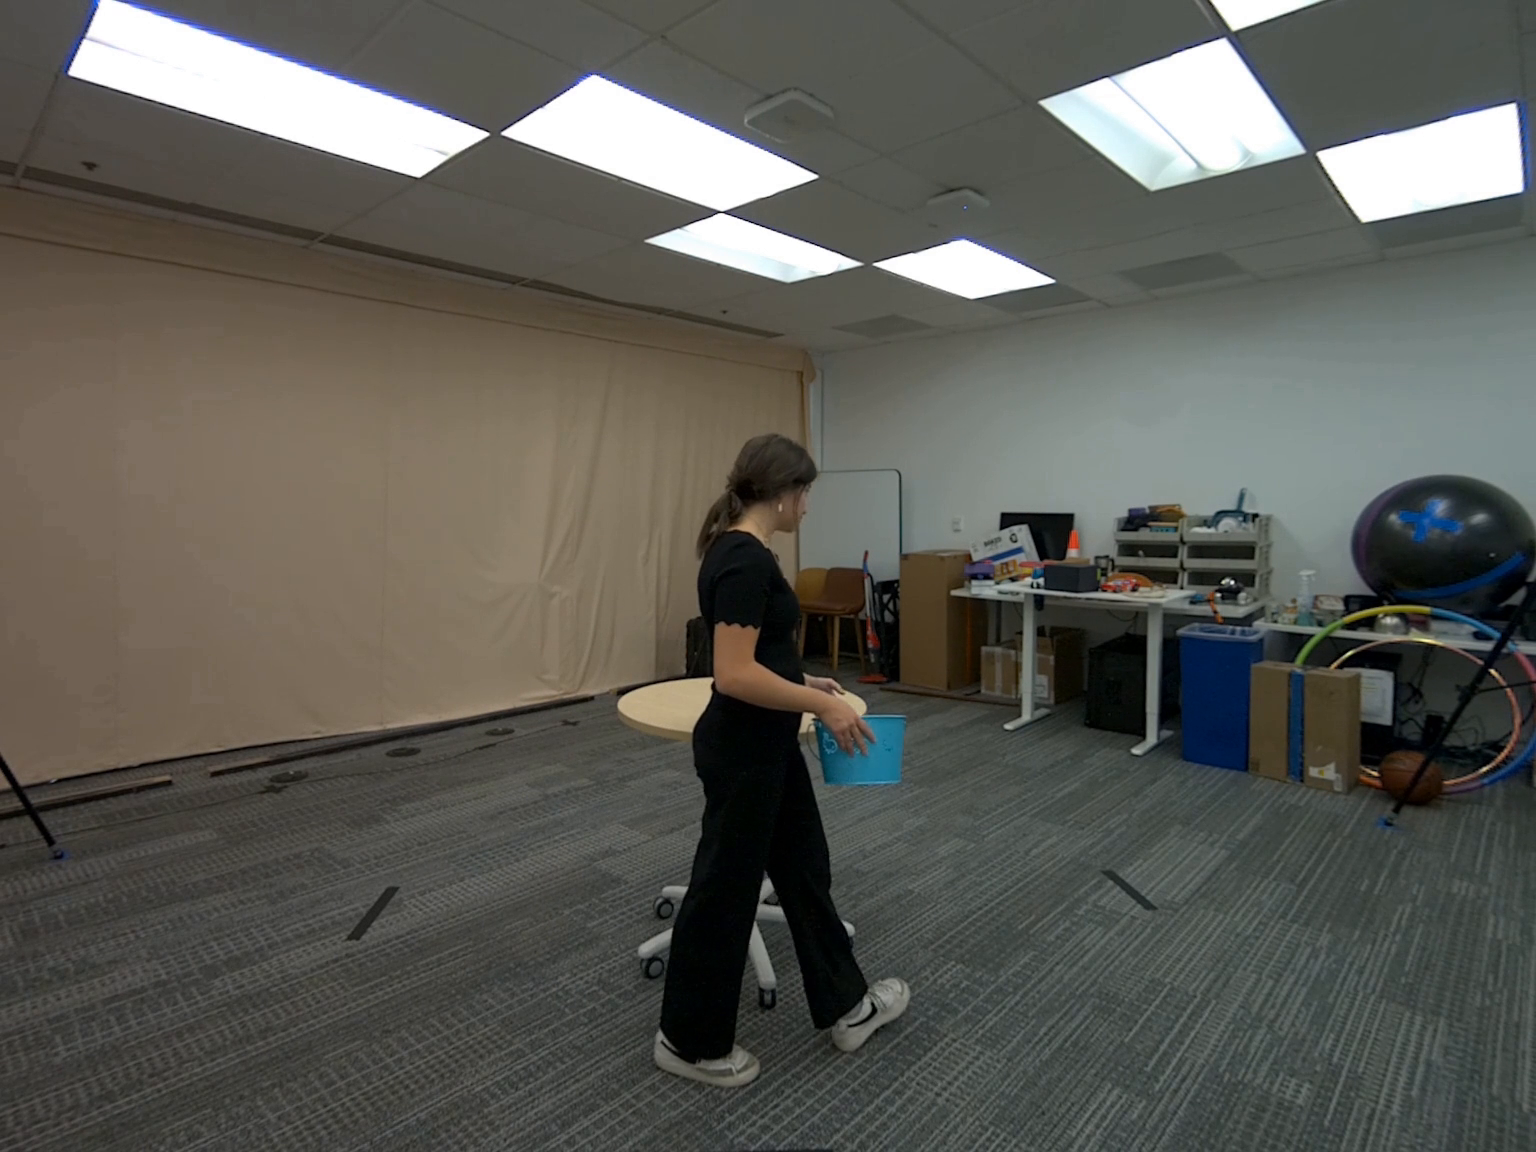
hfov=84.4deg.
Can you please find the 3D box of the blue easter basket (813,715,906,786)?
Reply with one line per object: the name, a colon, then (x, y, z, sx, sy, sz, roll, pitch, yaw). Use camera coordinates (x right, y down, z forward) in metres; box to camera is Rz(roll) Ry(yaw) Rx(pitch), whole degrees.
blue easter basket: (0.225, 0.423, 2.015, 0.243, 0.157, 0.242, 1, -13, -1)
